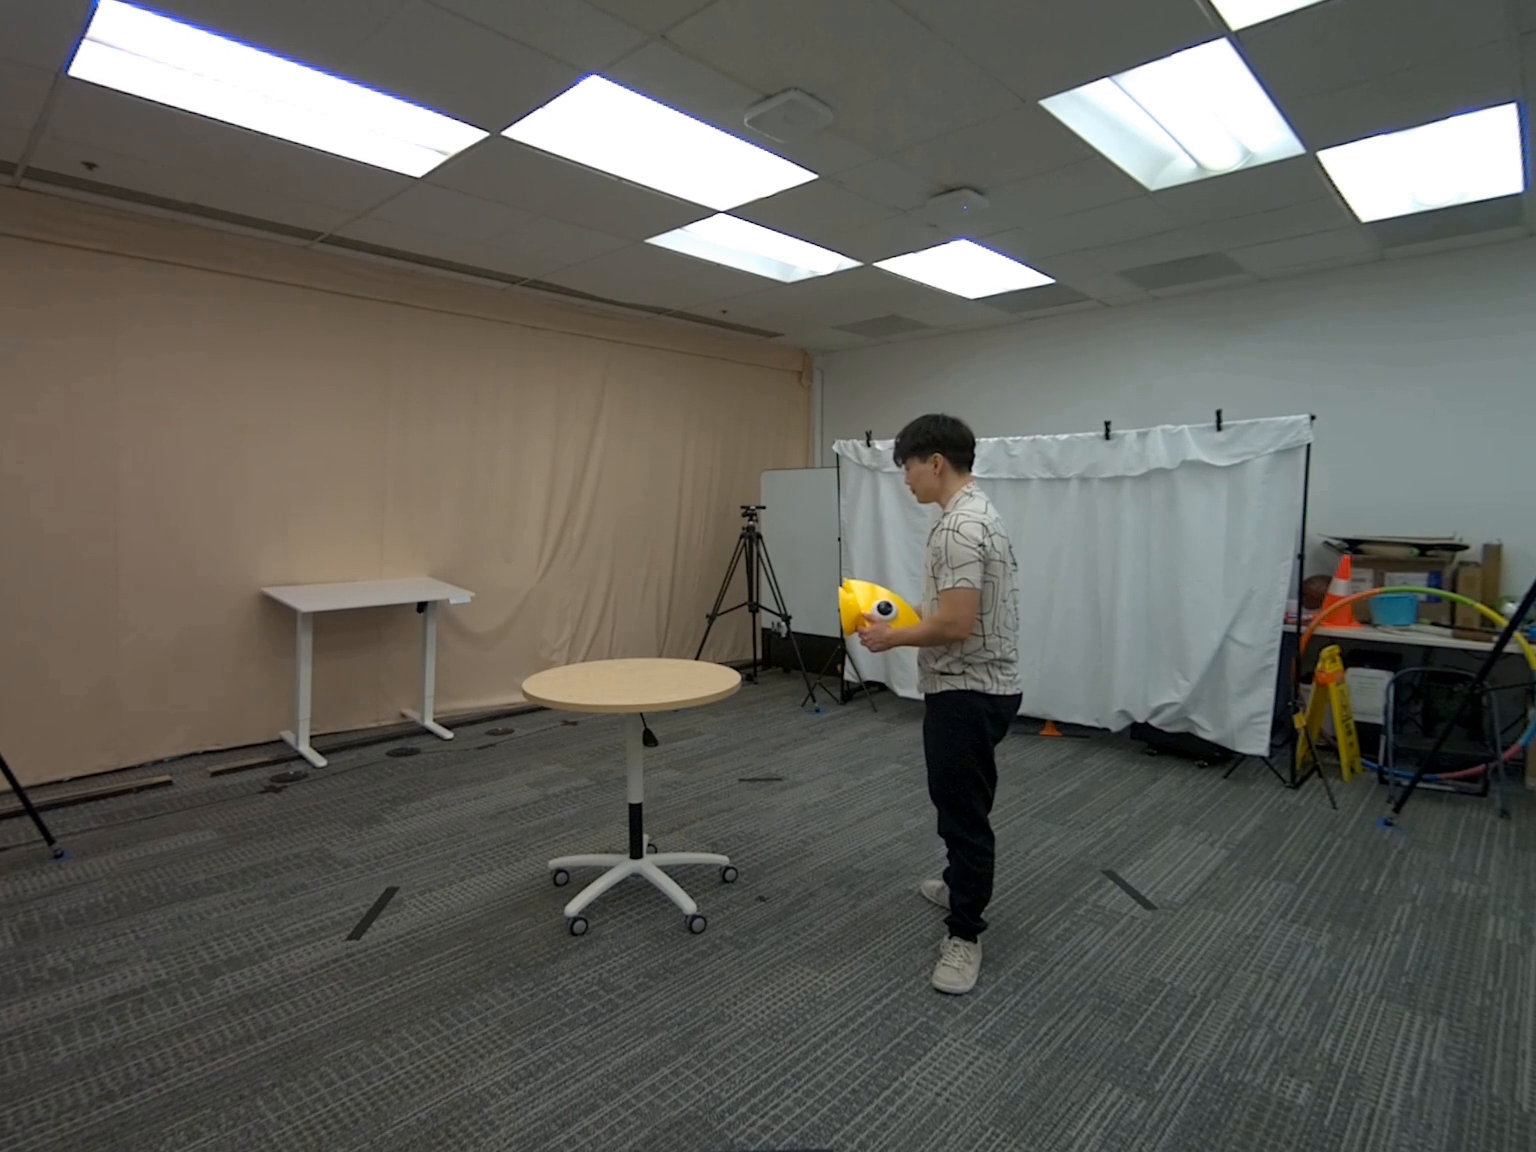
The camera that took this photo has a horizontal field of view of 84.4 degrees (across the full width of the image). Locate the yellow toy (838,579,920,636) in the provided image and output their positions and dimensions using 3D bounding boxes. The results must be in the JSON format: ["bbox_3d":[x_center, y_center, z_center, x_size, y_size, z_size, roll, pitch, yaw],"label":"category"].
[{"bbox_3d":[0.360,0.098,2.623,0.234,0.191,0.203,-8,10,15],"label":"yellow toy"}]
